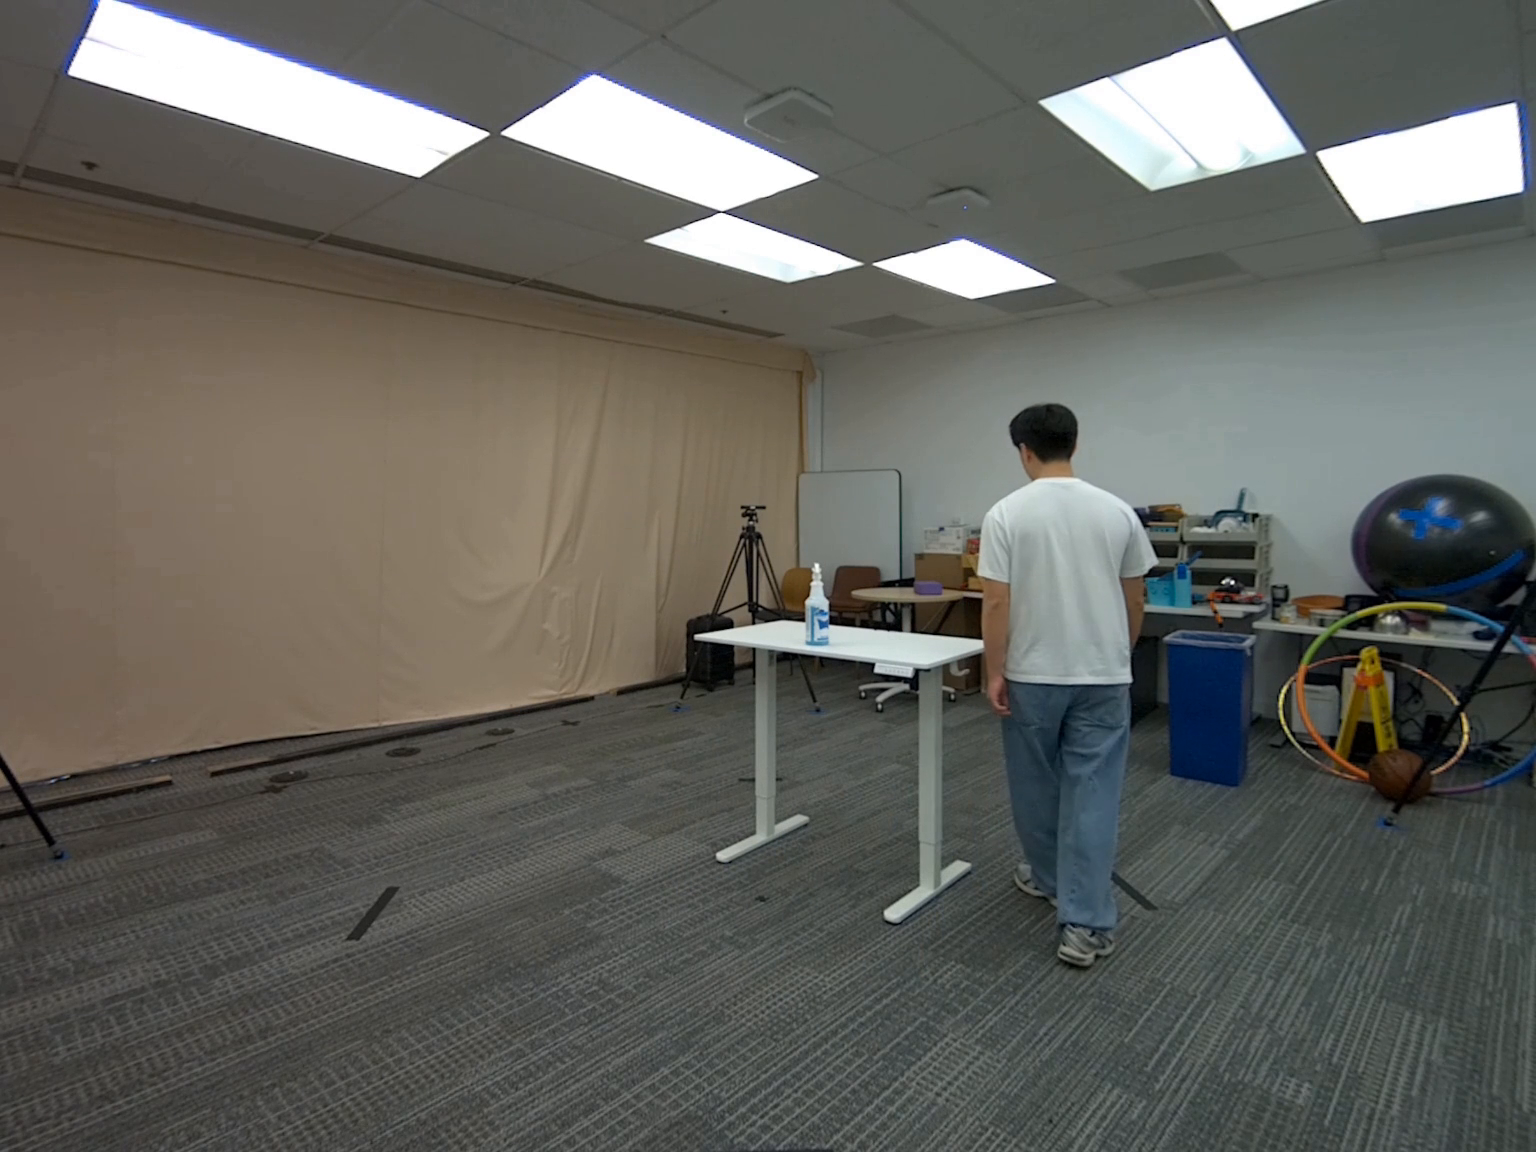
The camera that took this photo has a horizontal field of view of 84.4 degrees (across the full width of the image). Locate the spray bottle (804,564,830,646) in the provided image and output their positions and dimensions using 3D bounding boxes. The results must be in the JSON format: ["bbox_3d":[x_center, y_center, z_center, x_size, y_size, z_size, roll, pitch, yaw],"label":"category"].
[{"bbox_3d":[0.184,0.107,3.082,0.089,0.297,0.088,1,1,27],"label":"spray bottle"}]
